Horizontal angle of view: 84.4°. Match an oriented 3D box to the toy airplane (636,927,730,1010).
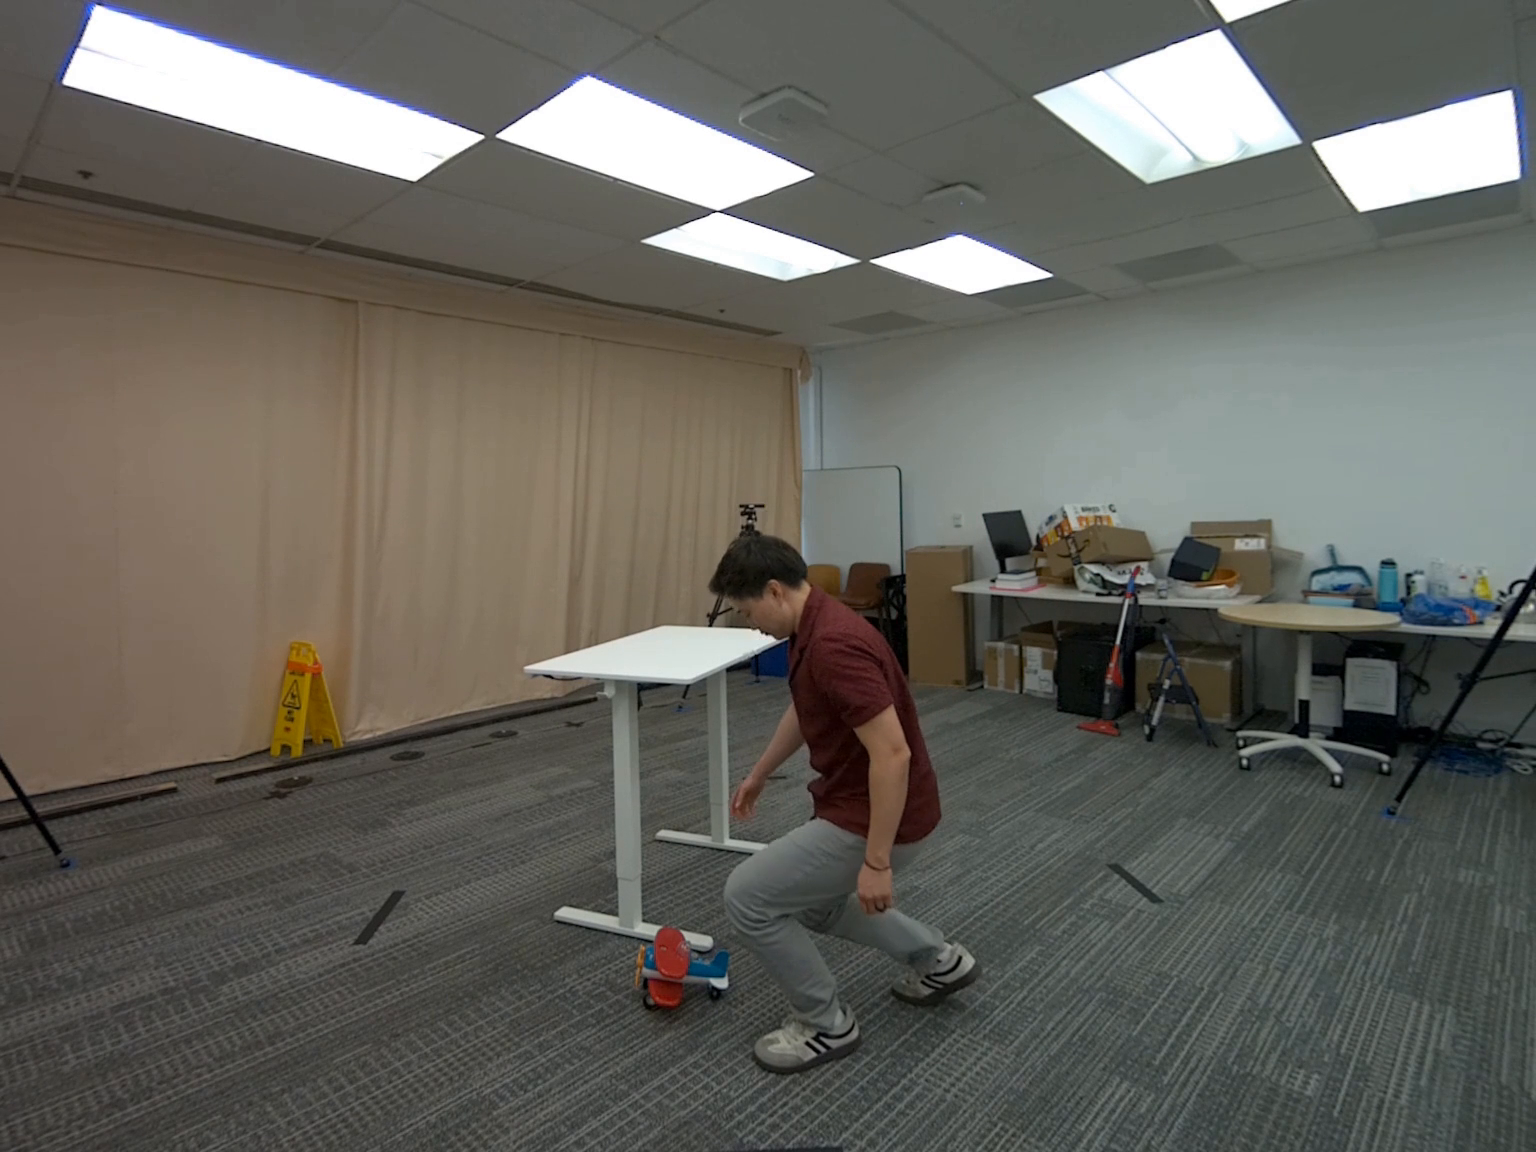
[{"bbox_3d":[-0.246,1.126,2.391,0.252,0.156,0.258,-5,5,-31],"label":"toy airplane"}]
